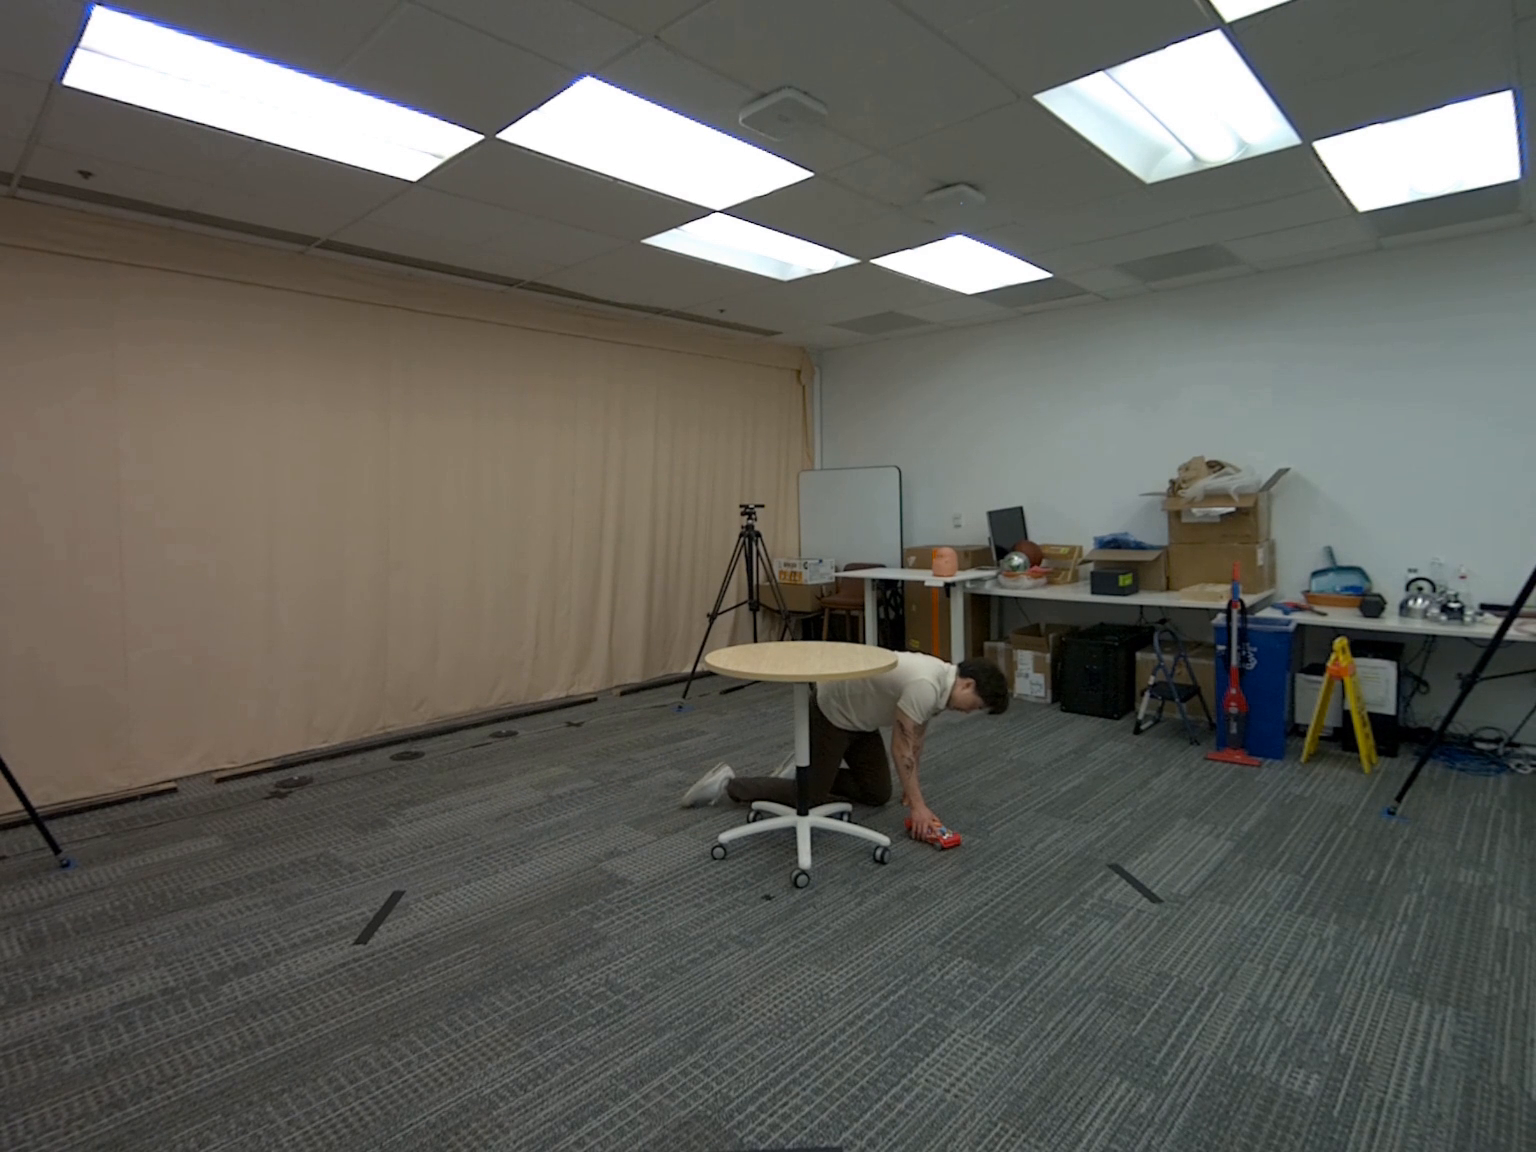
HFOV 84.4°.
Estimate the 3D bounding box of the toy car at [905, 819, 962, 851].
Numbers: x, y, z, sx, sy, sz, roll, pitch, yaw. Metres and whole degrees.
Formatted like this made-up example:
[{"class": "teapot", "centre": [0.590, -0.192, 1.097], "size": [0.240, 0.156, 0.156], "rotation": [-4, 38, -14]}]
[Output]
[{"class": "toy car", "centre": [0.673, 1.053, 3.471], "size": [0.127, 0.083, 0.263], "rotation": [-1, 15, -32]}]
